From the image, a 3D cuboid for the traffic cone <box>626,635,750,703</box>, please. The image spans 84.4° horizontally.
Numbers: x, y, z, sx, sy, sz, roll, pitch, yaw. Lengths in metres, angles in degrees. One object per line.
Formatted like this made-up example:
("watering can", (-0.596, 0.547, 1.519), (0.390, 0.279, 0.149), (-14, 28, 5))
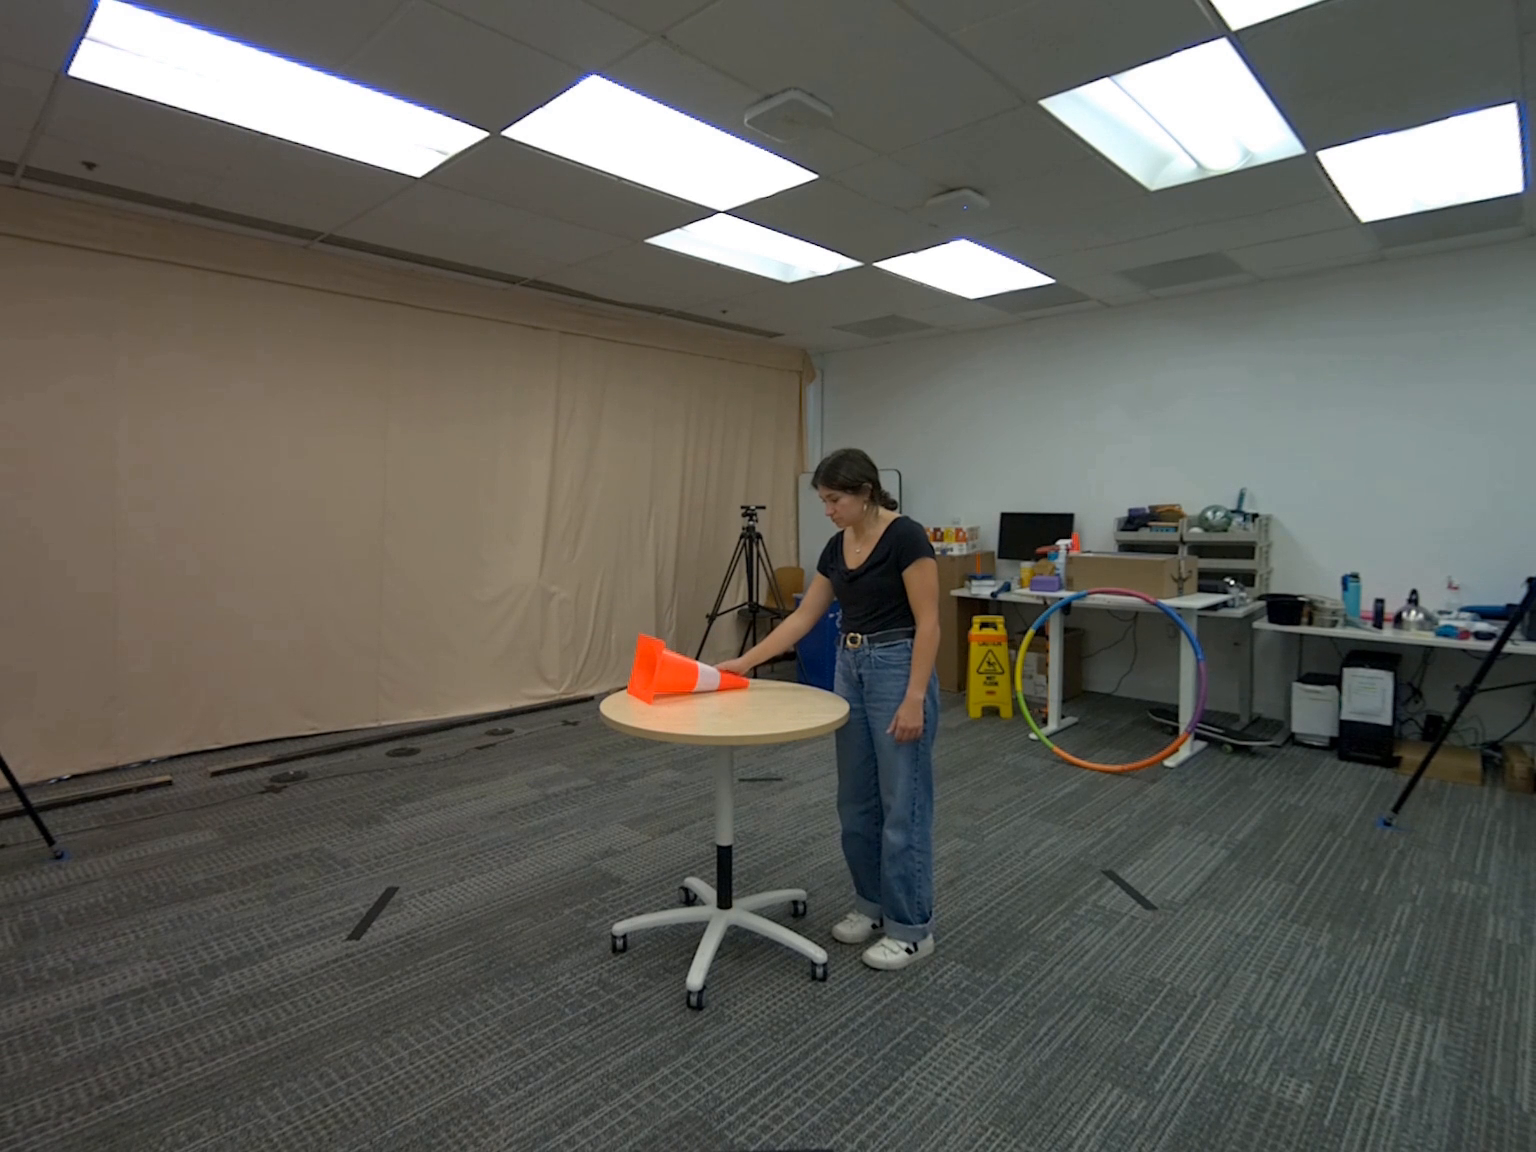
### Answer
("traffic cone", (-0.221, 0.334, 2.745), (0.374, 0.203, 0.210), (12, -1, -25))
